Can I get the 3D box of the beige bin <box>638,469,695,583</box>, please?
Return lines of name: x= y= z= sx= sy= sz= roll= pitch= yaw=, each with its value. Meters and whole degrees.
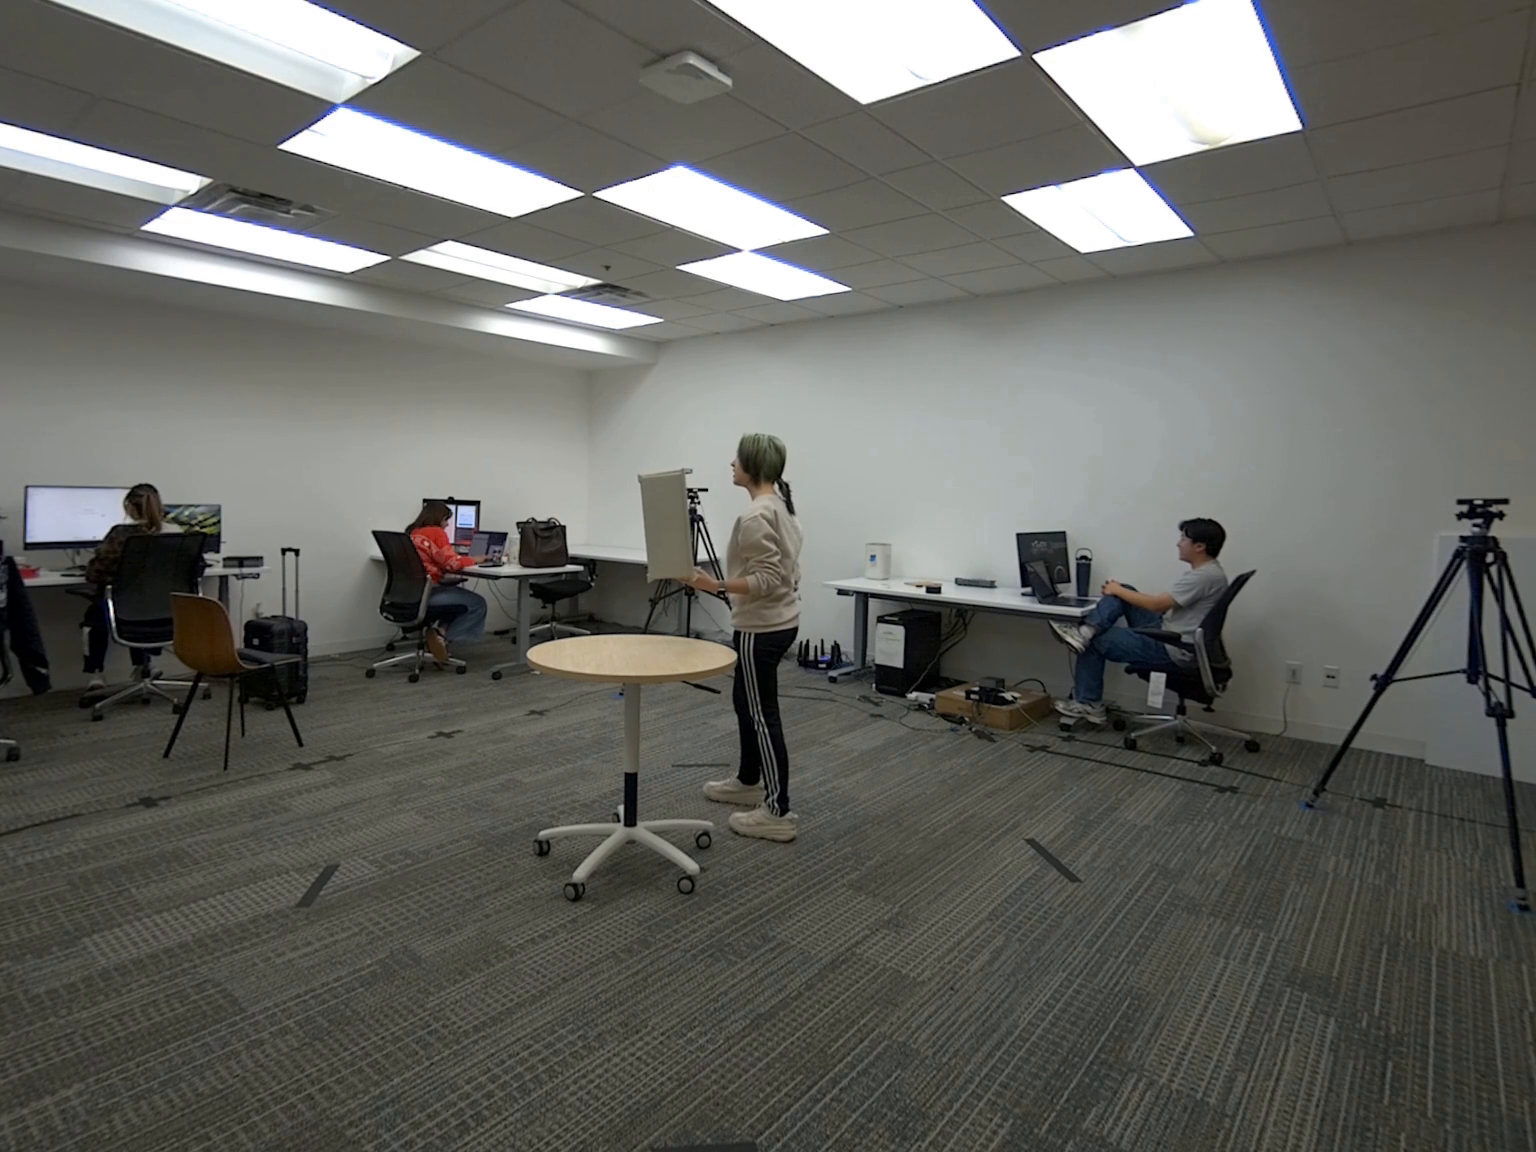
beige bin: x=-0.378 y=-0.215 z=3.344 sx=0.190 sy=0.421 sz=0.377 roll=-3 pitch=4 yaw=3
